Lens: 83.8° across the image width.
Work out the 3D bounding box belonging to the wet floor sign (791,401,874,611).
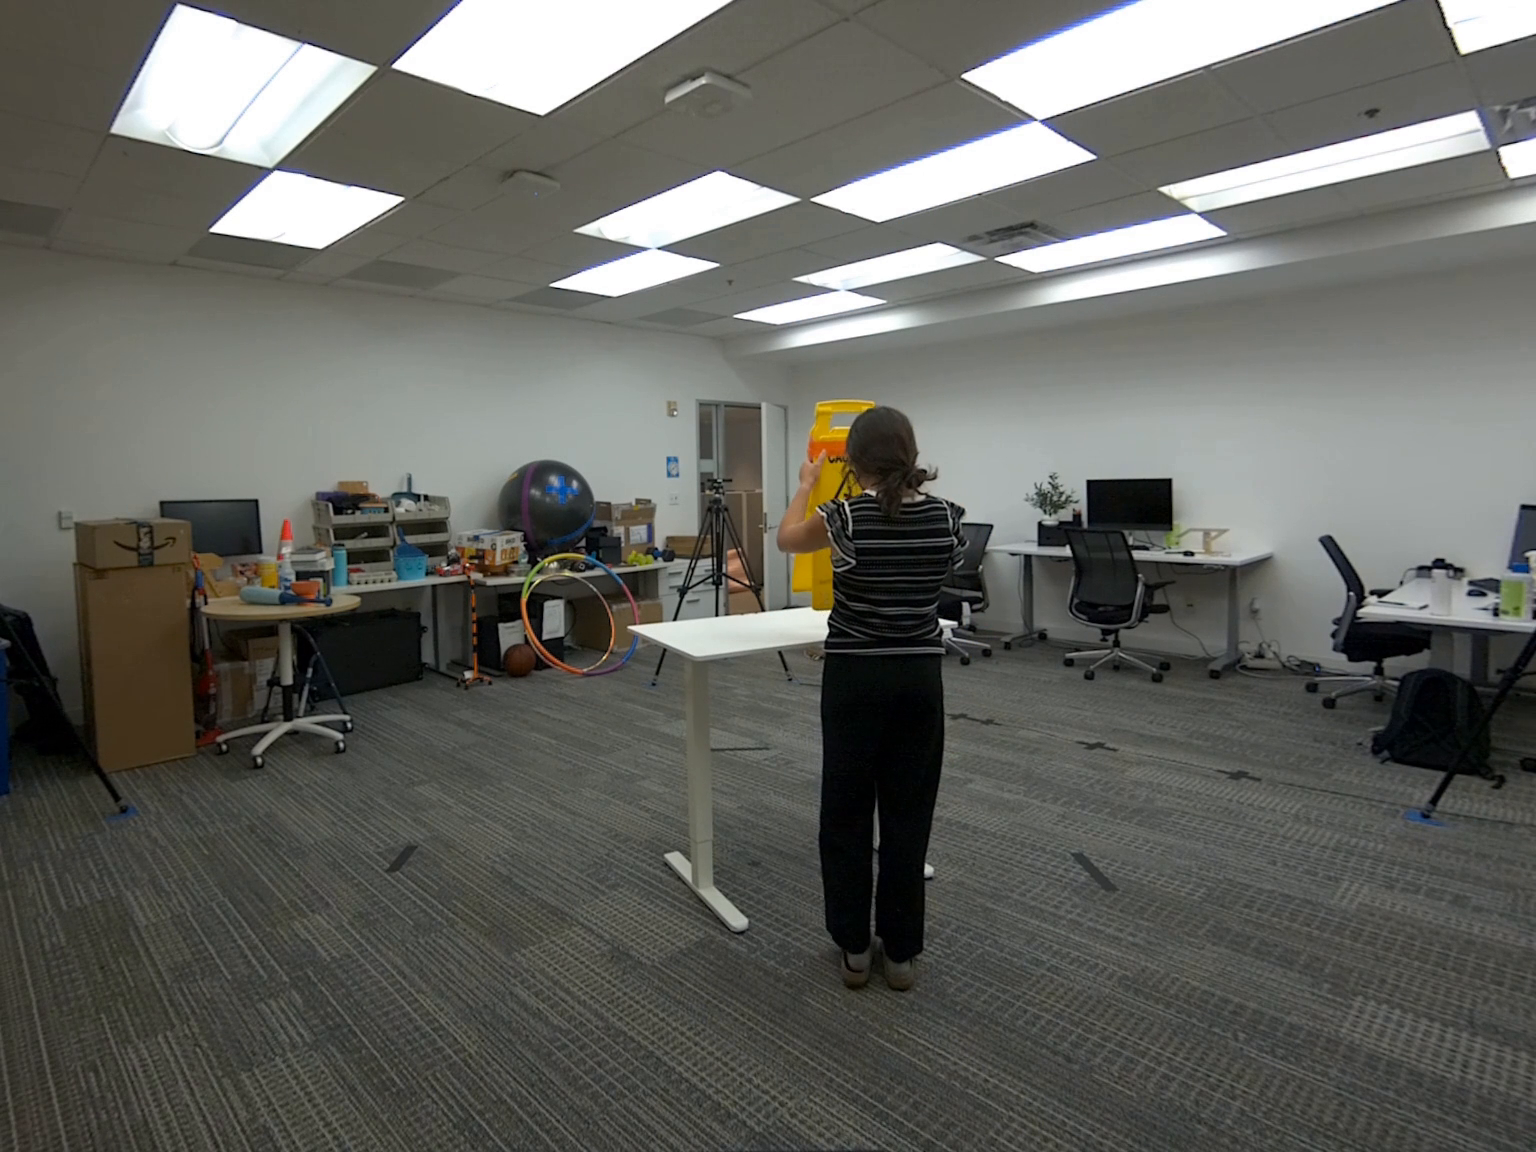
[{"bbox_3d":[0.250,-0.238,2.777,0.279,0.640,0.295,-3,10,-13],"label":"wet floor sign"}]
